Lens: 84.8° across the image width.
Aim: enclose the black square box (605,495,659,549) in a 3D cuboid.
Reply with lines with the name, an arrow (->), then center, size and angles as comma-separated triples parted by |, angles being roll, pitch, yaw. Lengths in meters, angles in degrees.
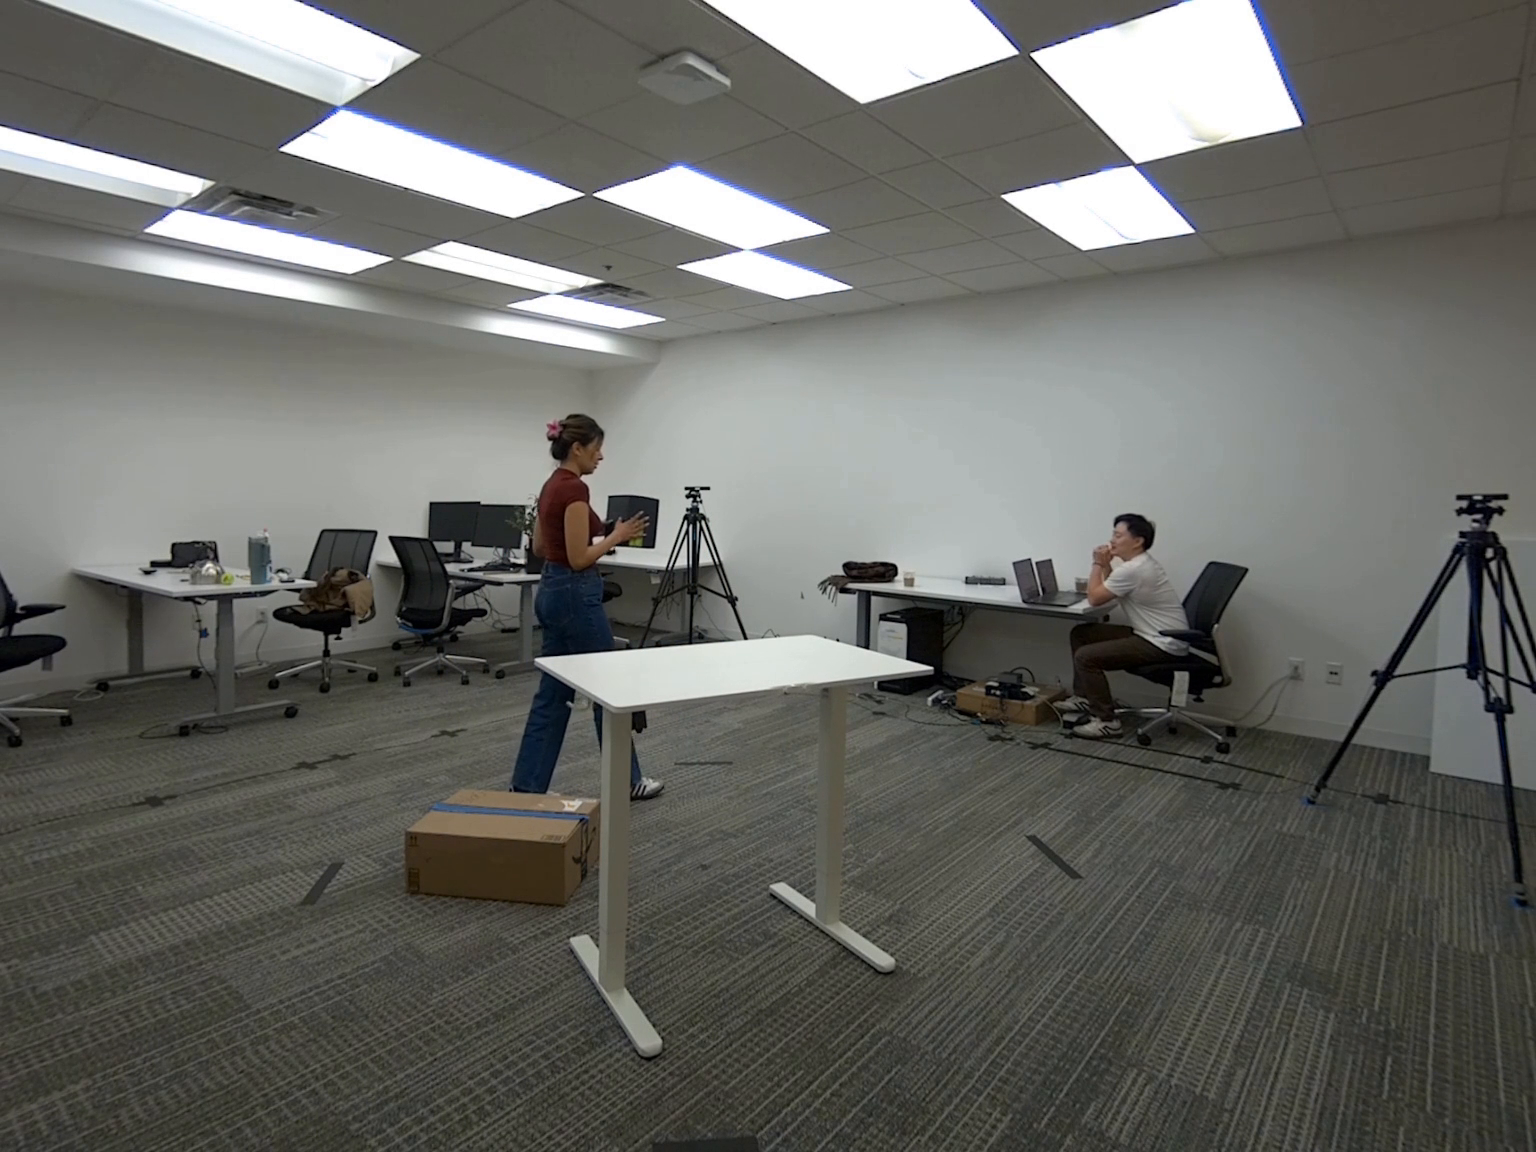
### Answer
black square box -> -0.632, -0.252, 3.870 | 0.150, 0.228, 0.224 | 6, -1, -42
